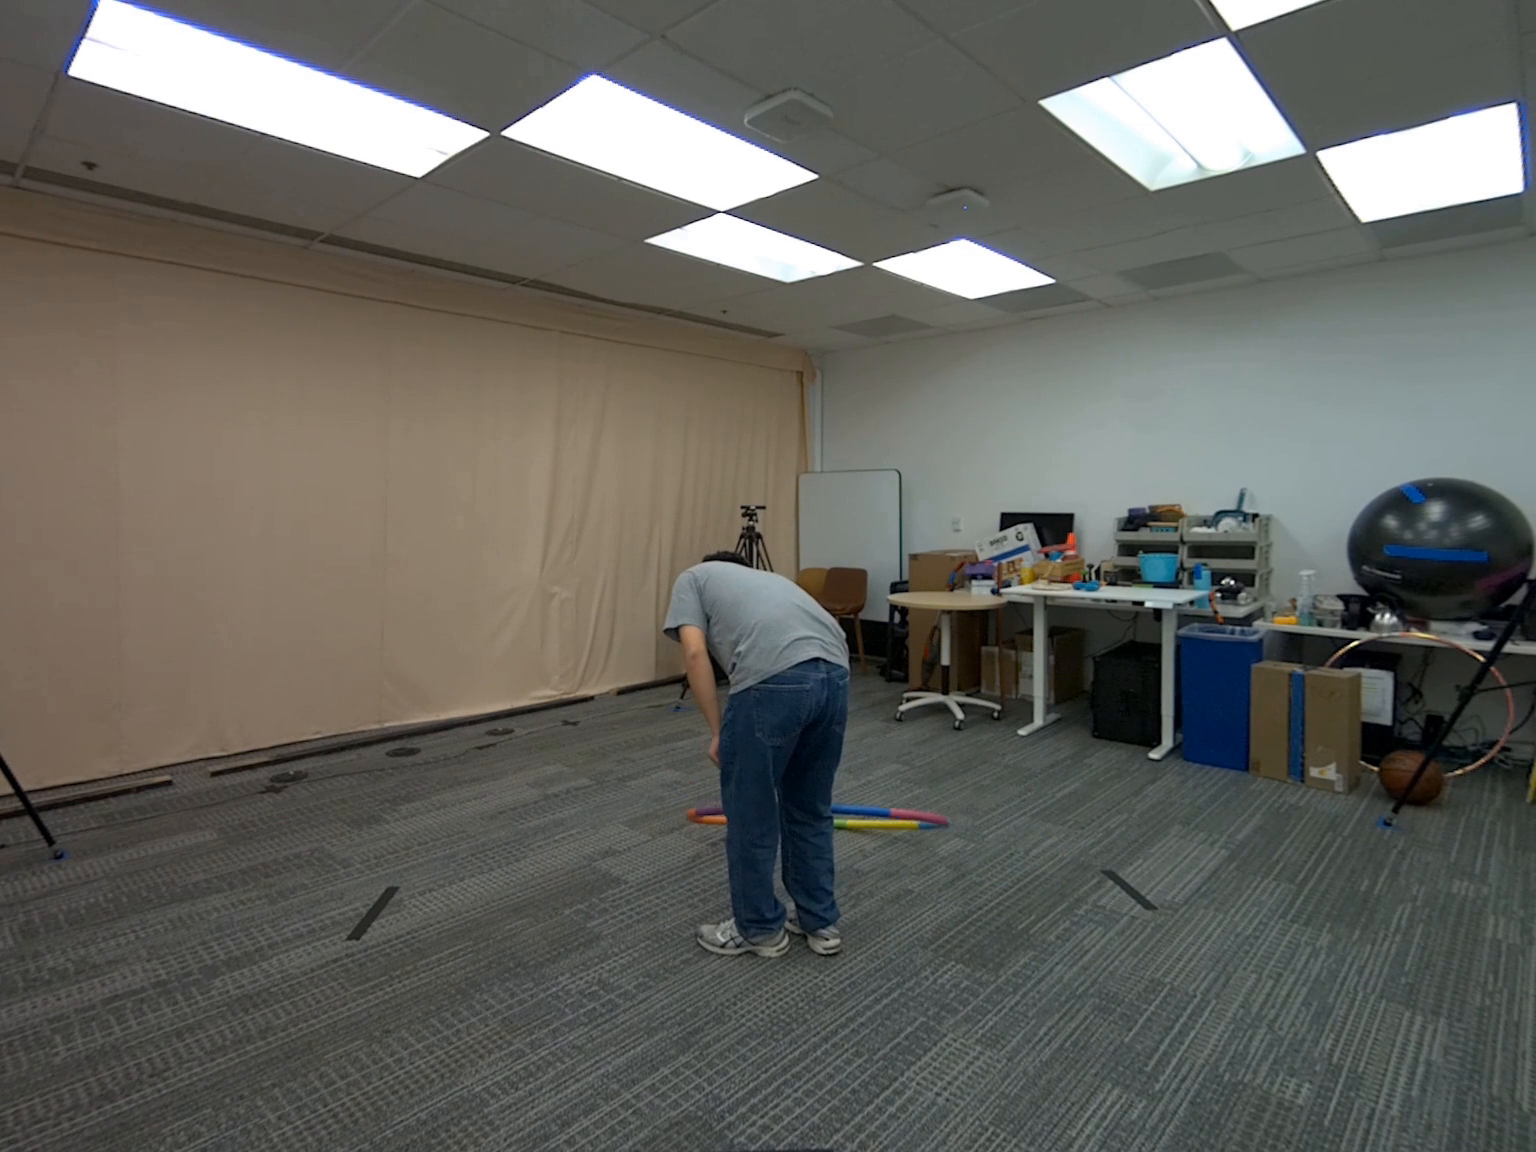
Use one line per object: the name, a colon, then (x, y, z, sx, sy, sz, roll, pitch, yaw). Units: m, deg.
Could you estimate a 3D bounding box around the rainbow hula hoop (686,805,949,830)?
rainbow hula hoop: (0.182, 0.917, 3.226, 0.979, 0.036, 0.968, 2, -19, -1)
